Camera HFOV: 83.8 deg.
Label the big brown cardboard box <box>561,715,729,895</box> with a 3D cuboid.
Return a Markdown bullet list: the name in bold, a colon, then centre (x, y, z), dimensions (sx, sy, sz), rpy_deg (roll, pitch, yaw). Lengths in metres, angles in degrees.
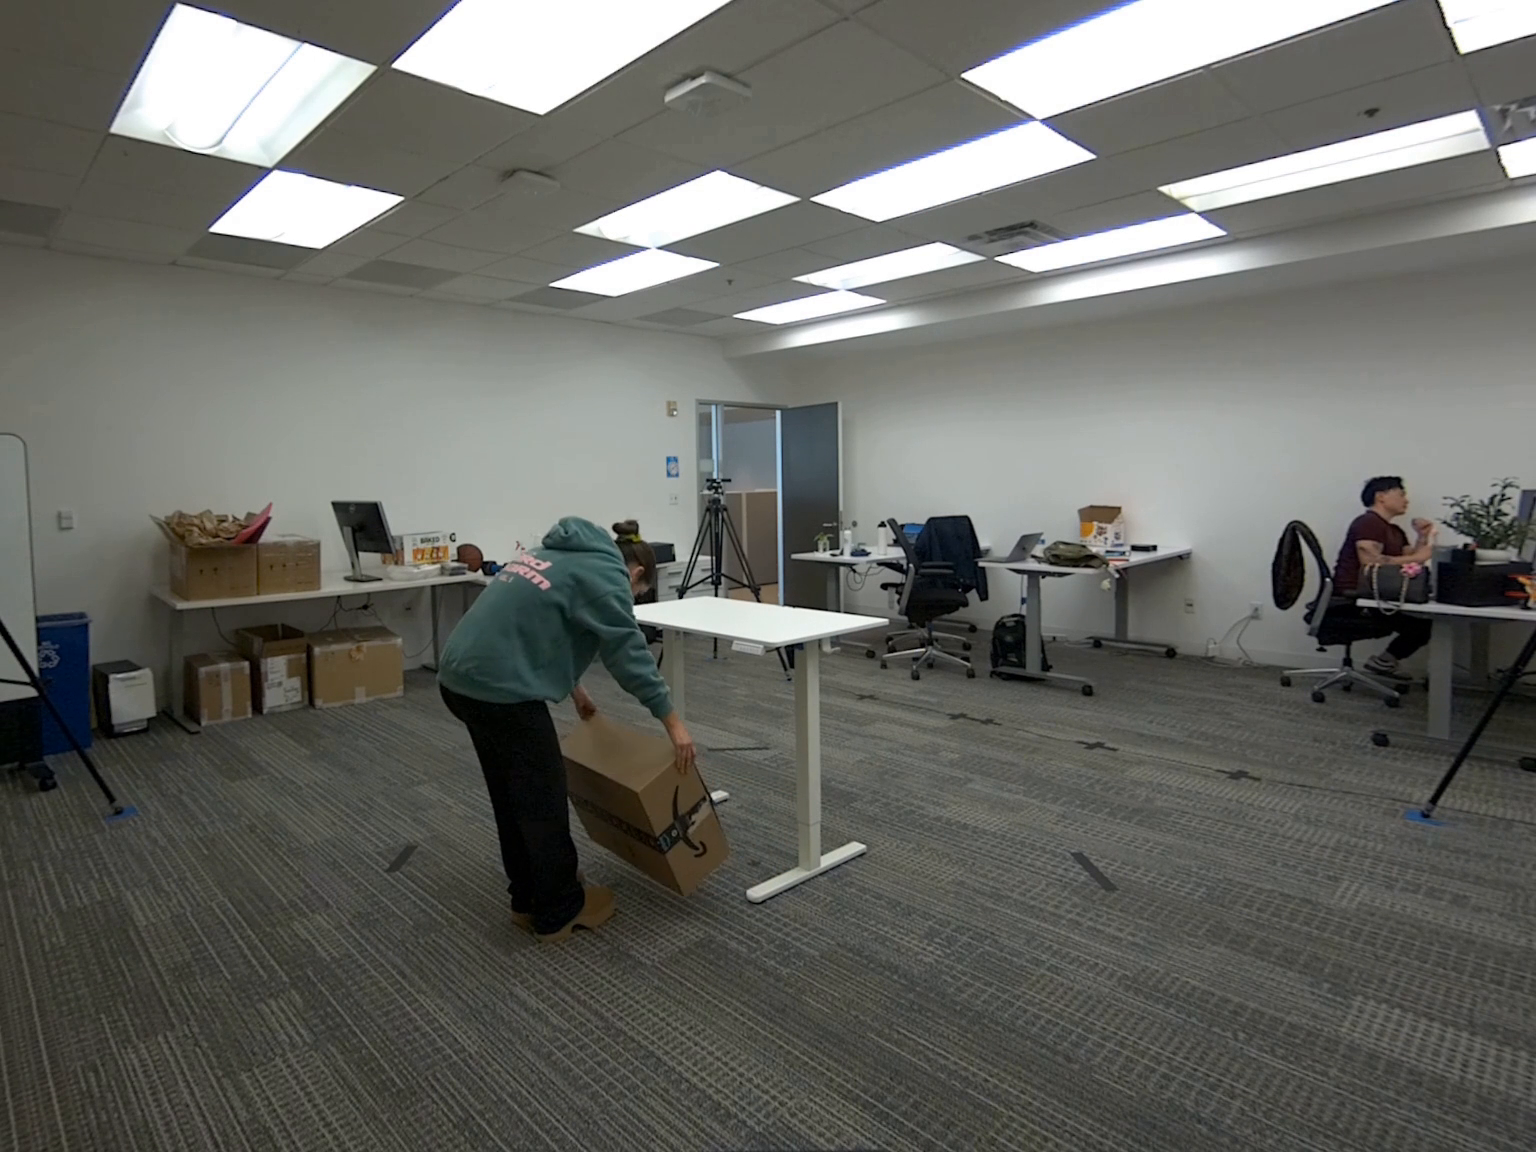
- **big brown cardboard box**: centre (-0.434, 0.735, 2.857), dimensions (0.231, 0.408, 0.608), rpy_deg (-33, 26, -33)
